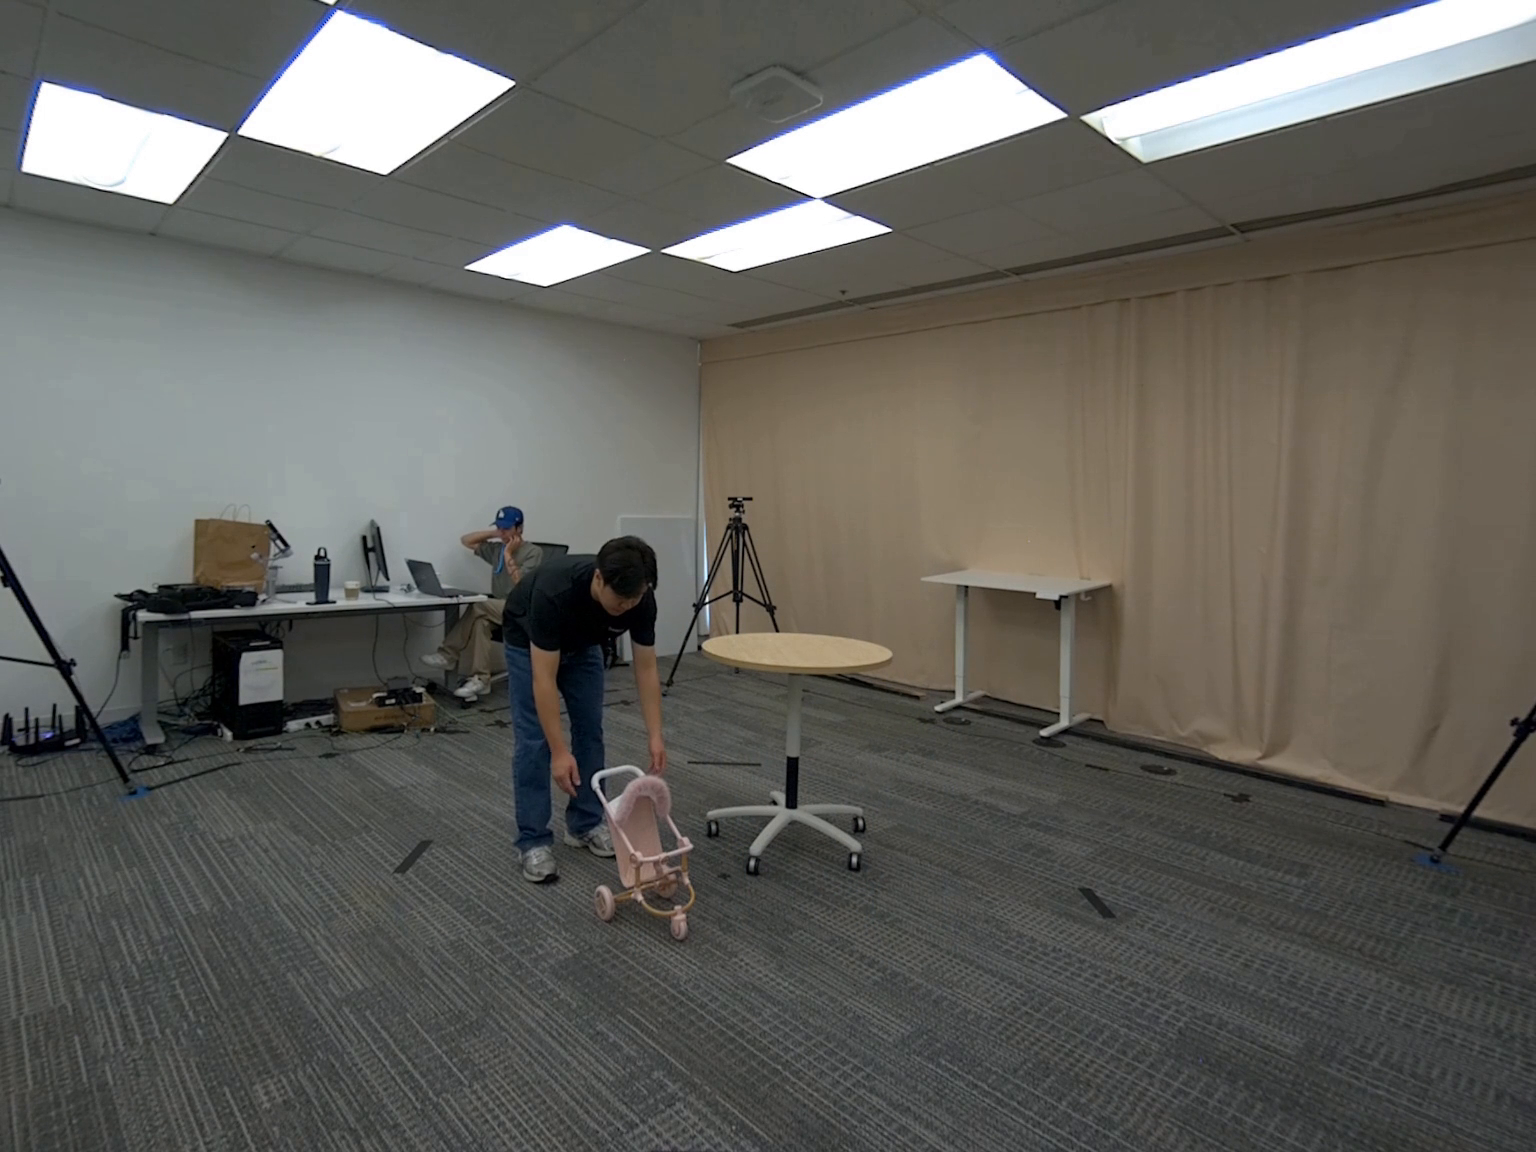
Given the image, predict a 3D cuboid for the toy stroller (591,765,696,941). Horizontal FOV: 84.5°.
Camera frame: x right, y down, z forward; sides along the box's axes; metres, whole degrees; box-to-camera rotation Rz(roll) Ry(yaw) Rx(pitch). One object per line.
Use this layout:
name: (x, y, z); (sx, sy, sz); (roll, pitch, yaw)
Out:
toy stroller: (-0.409, 0.904, 2.784); (0.275, 0.539, 0.346); (-1, -11, -37)
